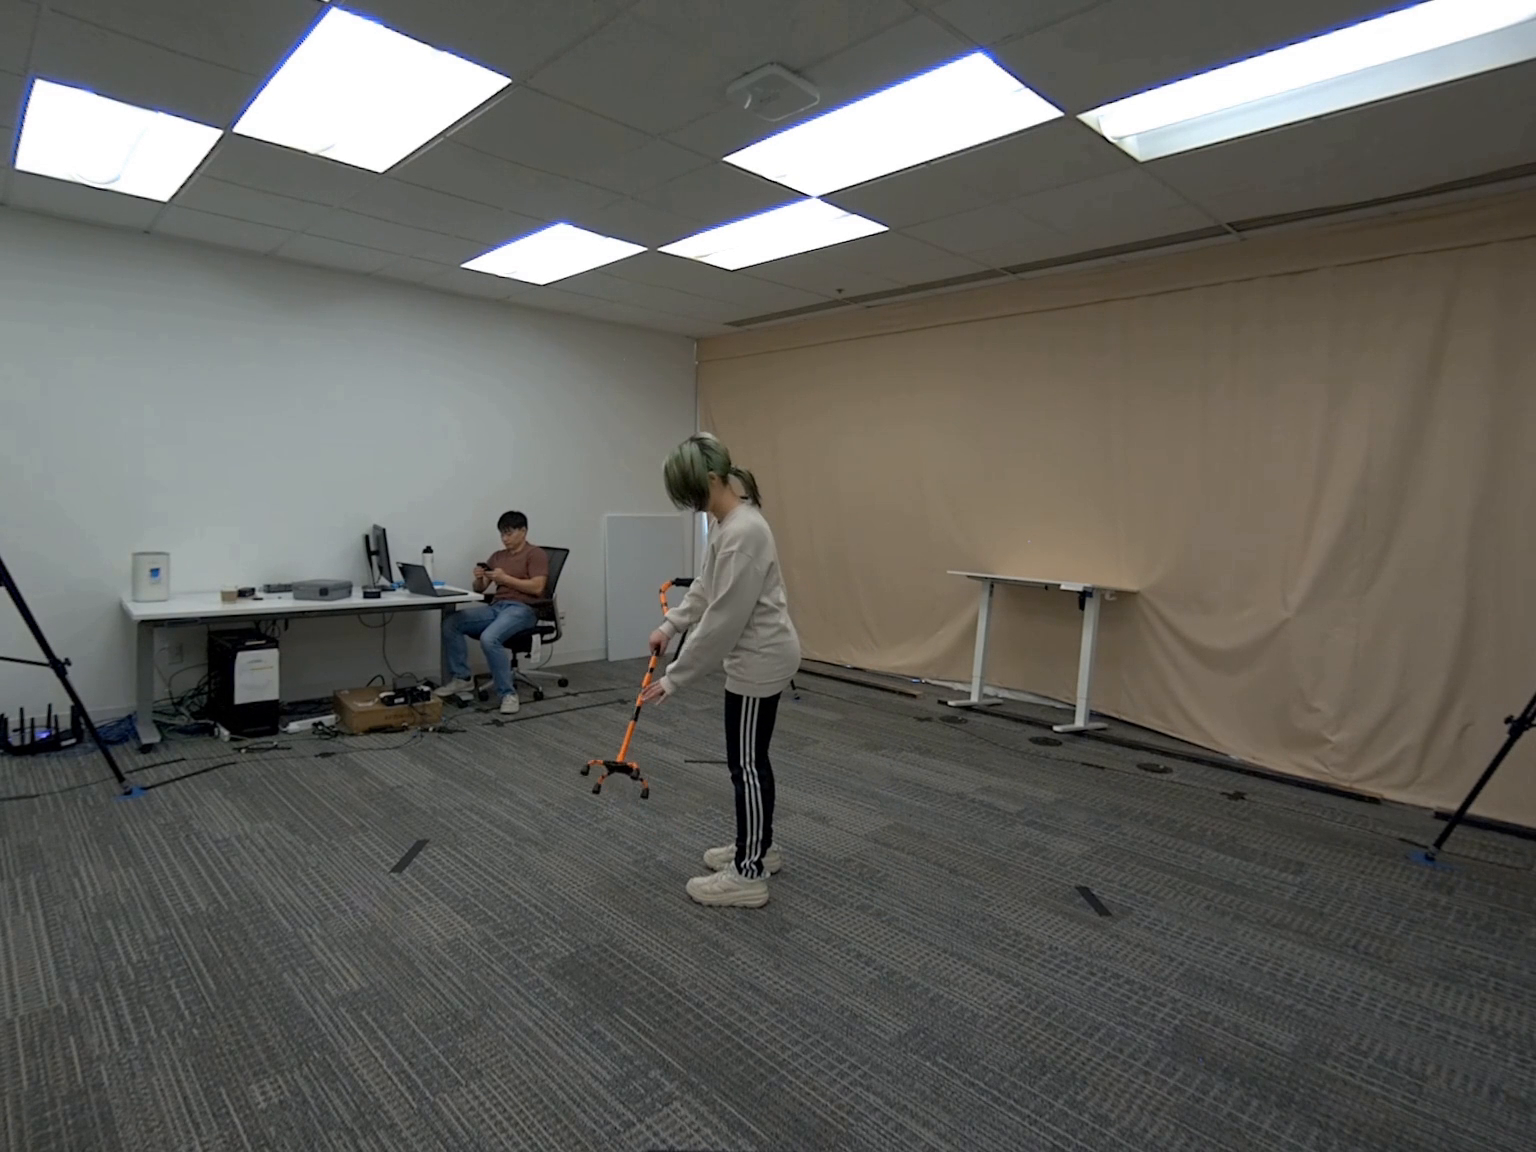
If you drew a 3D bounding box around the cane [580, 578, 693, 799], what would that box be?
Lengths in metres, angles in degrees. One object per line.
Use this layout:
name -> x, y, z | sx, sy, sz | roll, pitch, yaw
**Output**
cane -> -0.445, 0.366, 3.082 | 0.208, 0.923, 0.147 | 0, -42, 12
